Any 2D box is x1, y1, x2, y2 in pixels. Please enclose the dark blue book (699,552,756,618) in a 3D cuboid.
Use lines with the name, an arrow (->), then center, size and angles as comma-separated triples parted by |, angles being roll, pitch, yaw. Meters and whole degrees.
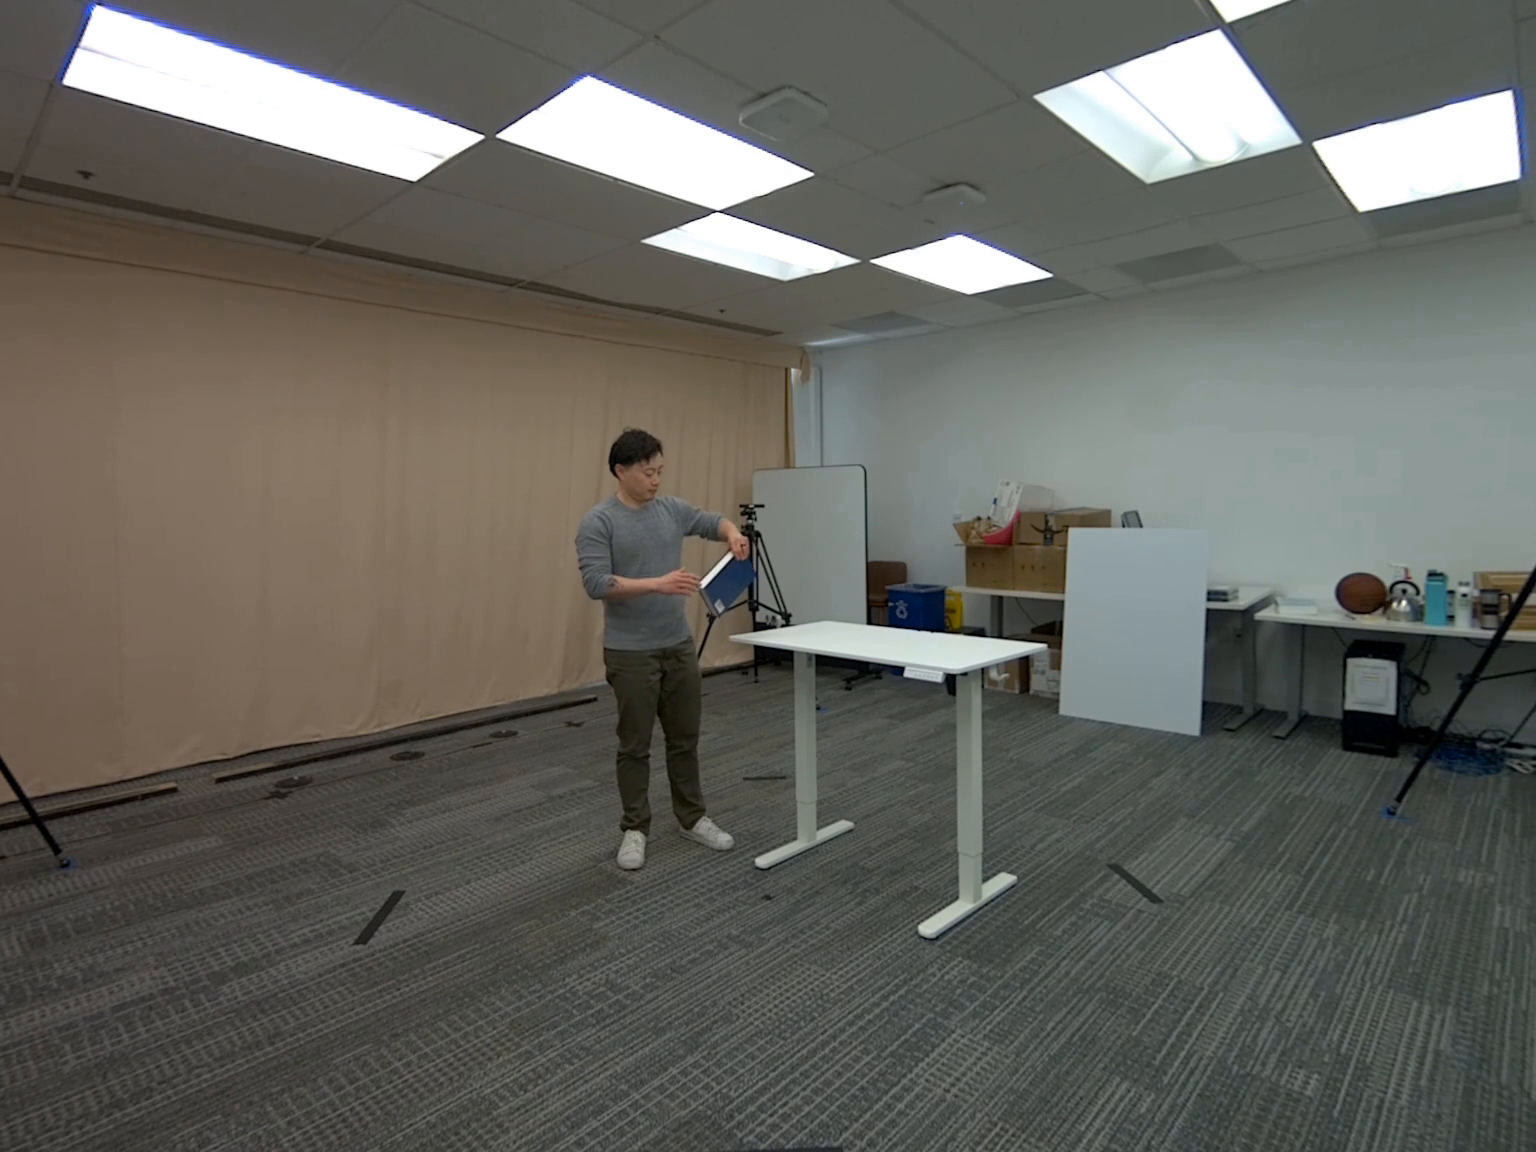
dark blue book -> -0.160, 0.022, 3.242 | 0.047, 0.159, 0.243 | 10, 48, 45
